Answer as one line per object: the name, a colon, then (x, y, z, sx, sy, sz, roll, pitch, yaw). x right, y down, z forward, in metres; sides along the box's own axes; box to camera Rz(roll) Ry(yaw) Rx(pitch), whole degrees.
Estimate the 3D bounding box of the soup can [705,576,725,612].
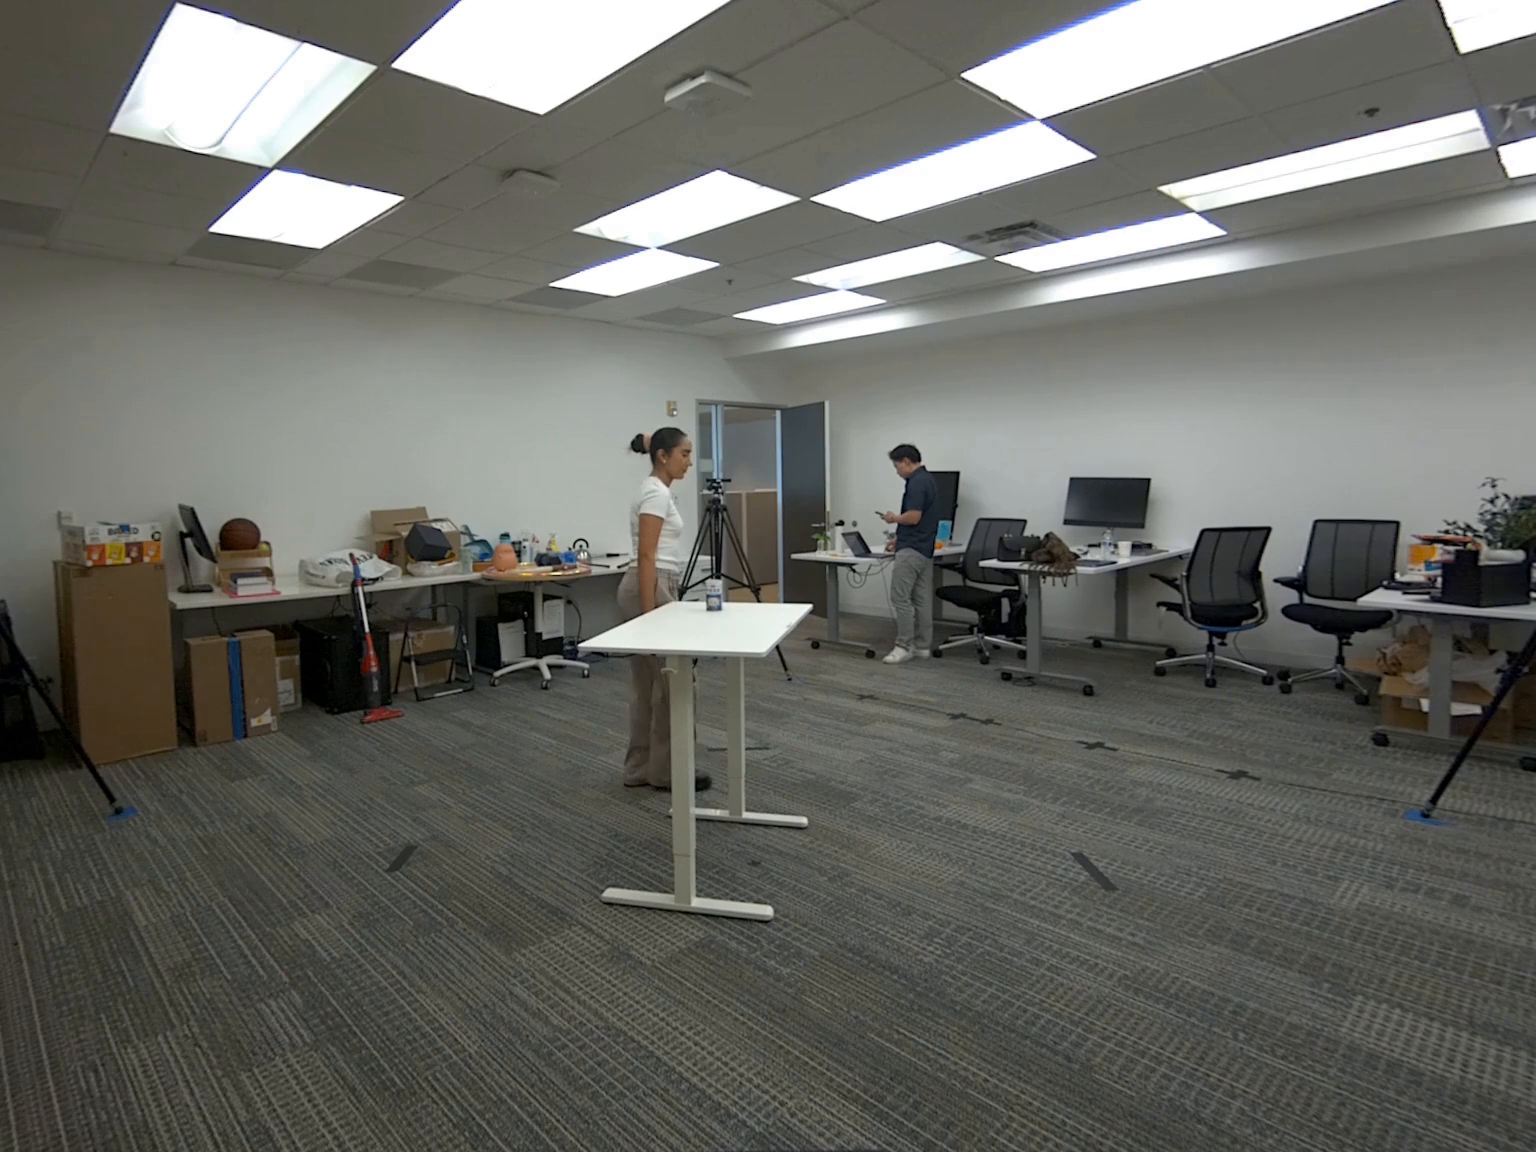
soup can: (-0.212, 0.081, 3.371, 0.067, 0.121, 0.067, -2, 6, -1)
